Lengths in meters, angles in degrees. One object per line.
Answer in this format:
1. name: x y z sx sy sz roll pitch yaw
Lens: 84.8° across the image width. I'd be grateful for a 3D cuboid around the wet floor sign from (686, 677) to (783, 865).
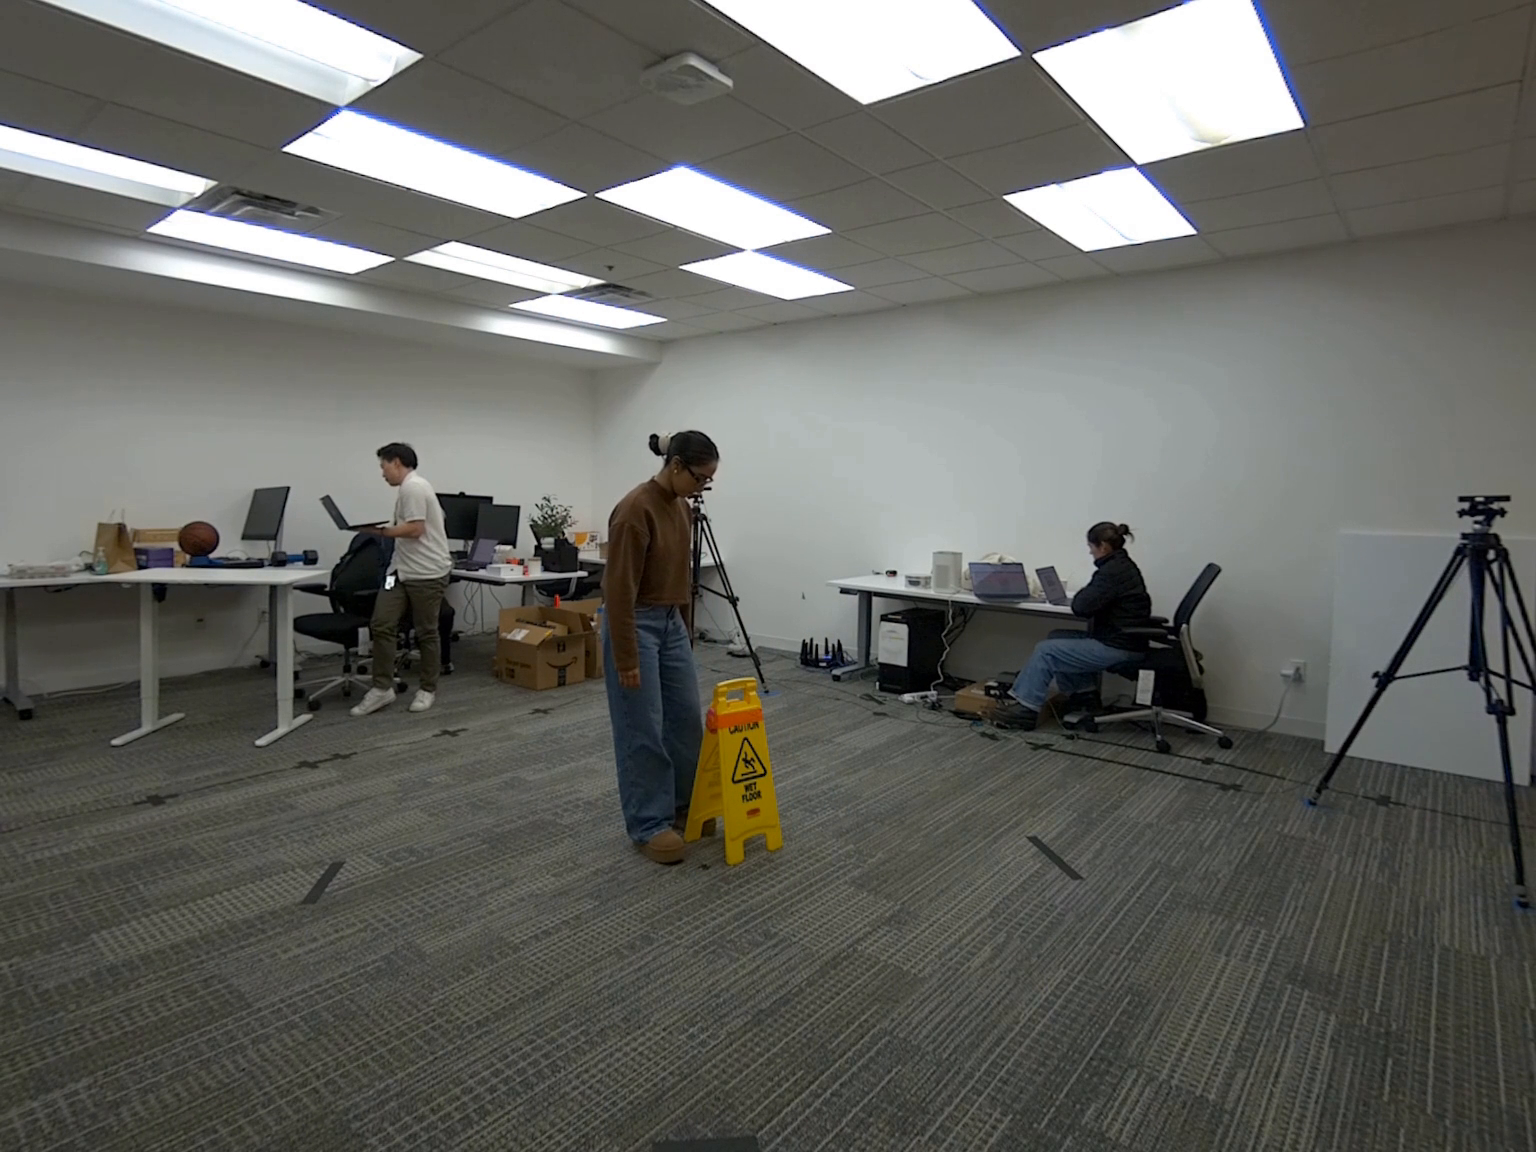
1. wet floor sign: -0.137 0.727 3.301 0.273 0.644 0.299 -1 4 -40
